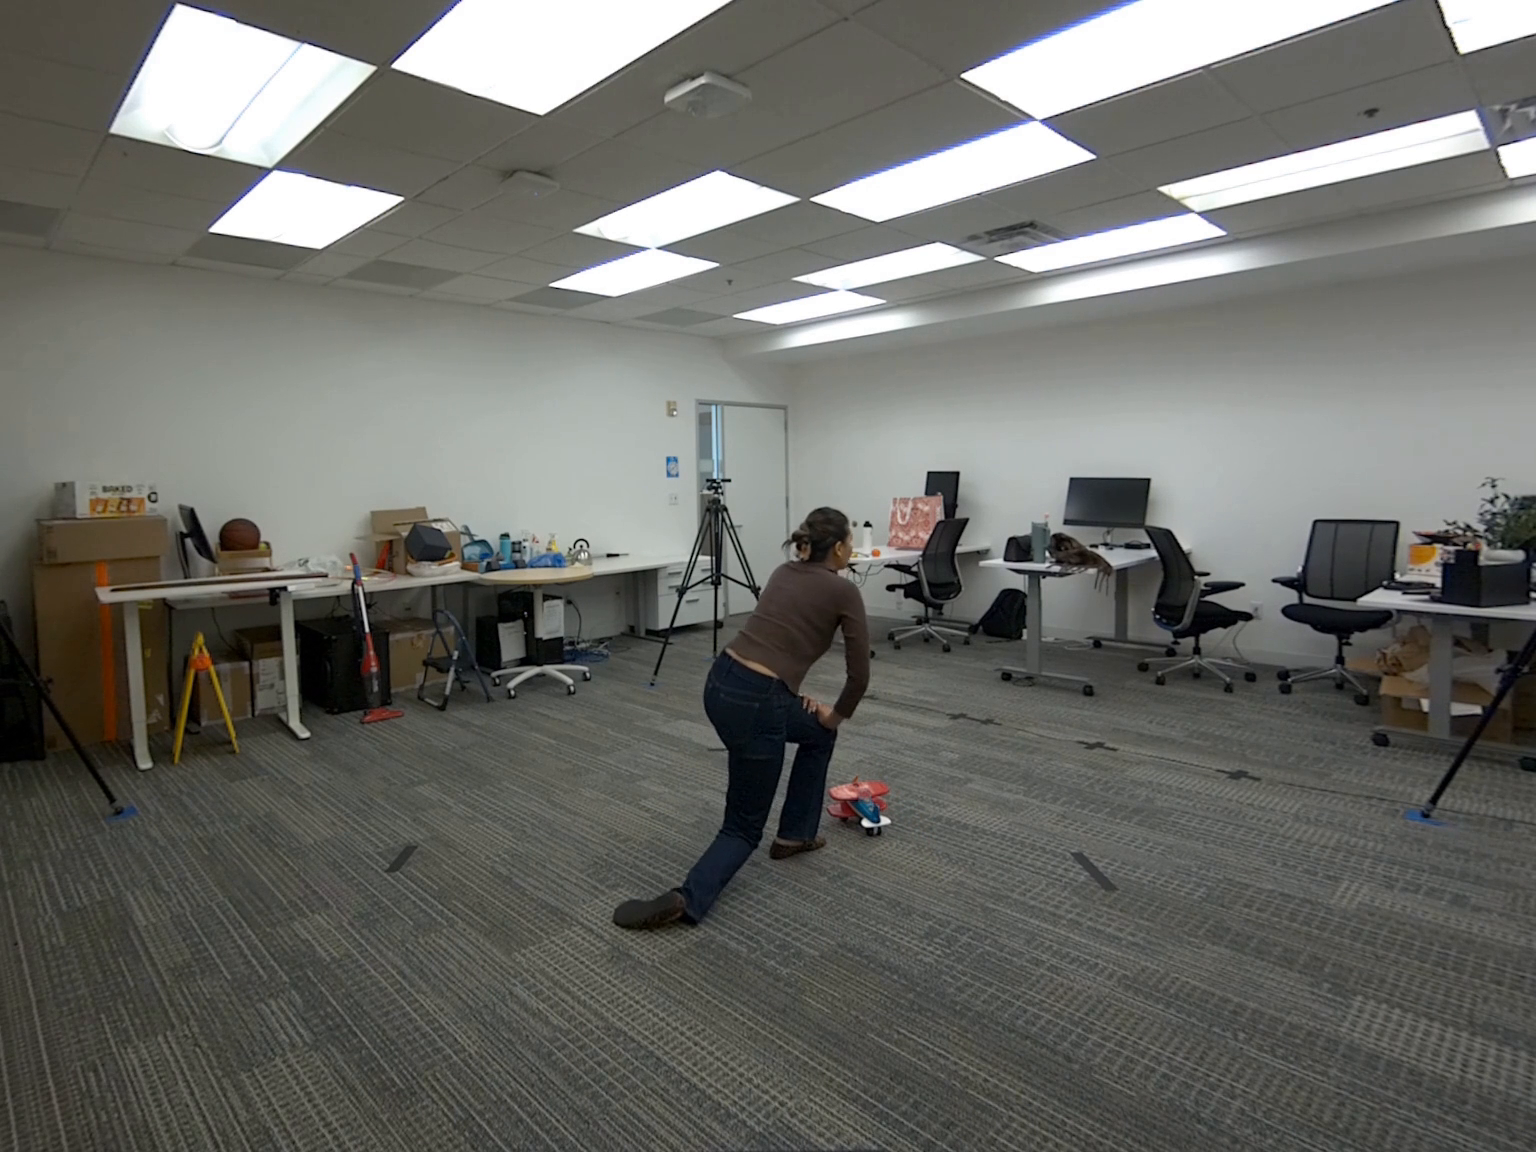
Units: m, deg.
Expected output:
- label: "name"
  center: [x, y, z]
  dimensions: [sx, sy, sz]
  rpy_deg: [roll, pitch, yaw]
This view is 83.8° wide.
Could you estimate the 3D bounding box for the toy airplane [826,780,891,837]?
- label: "toy airplane"
  center: [0.391, 0.925, 3.422]
  dimensions: [0.267, 0.156, 0.244]
  rpy_deg: [3, 6, 43]
